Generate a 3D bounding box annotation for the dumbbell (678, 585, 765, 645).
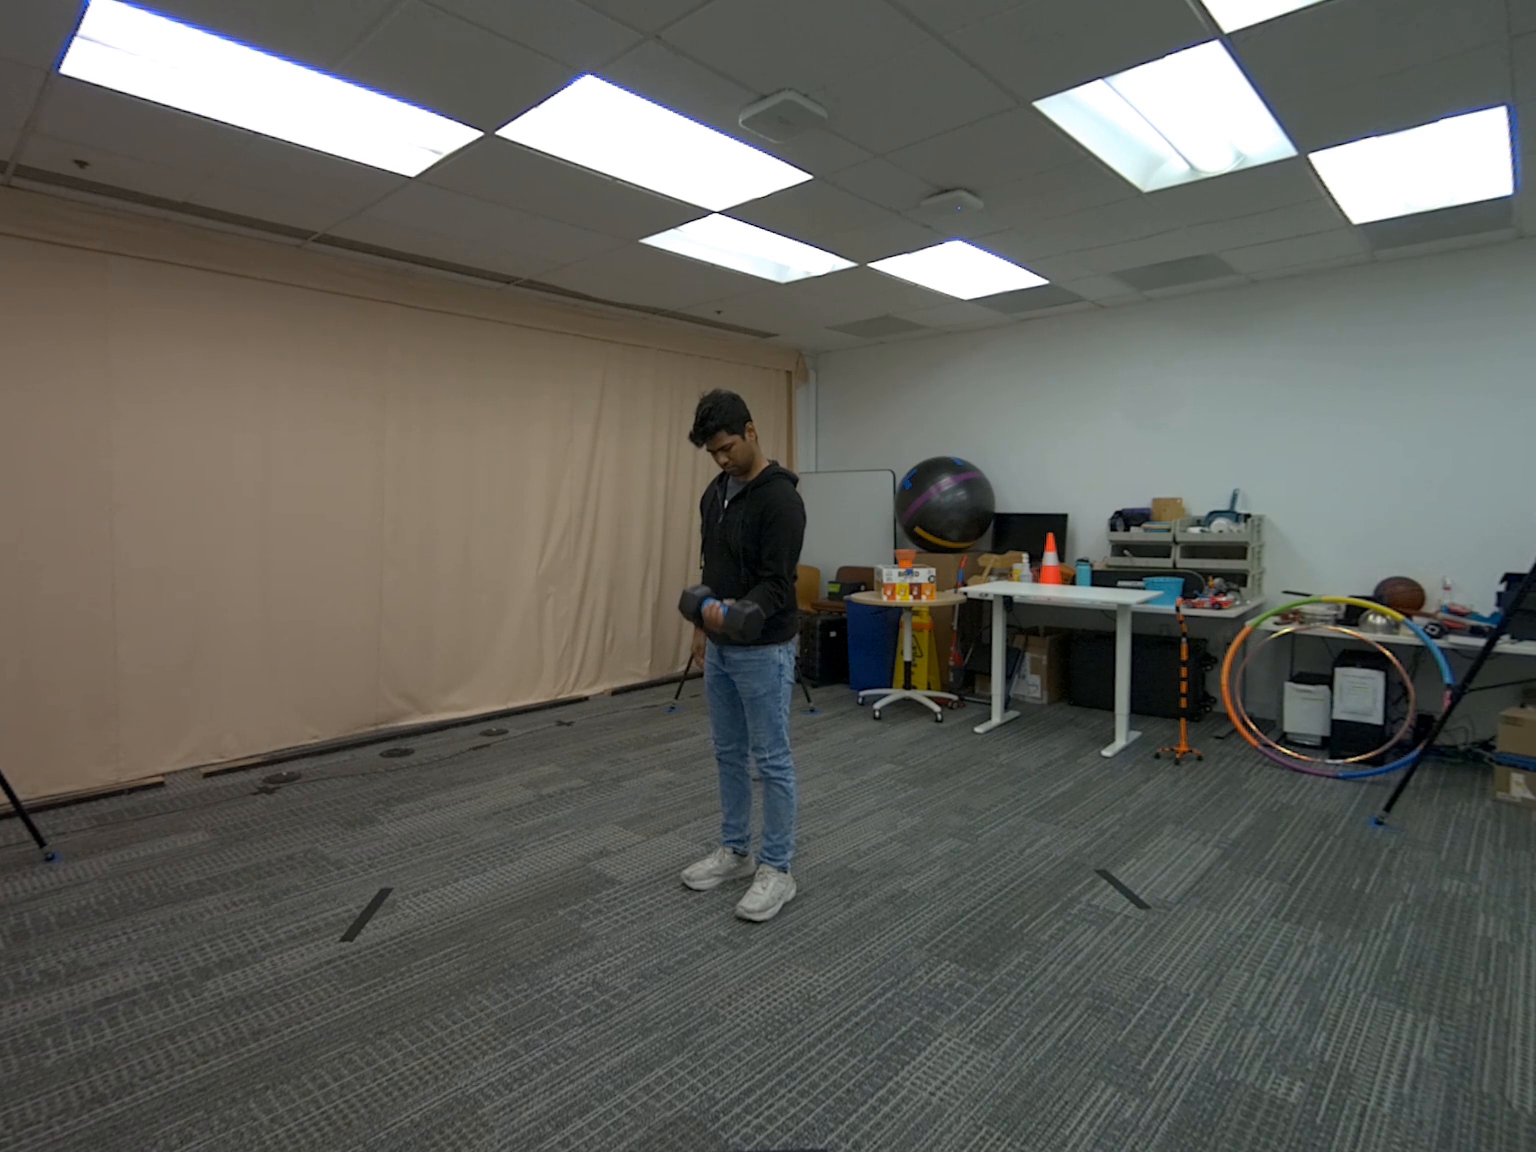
[{"bbox_3d":[-0.140,0.105,2.611,0.304,0.119,0.108,17,58,44],"label":"dumbbell"}]
